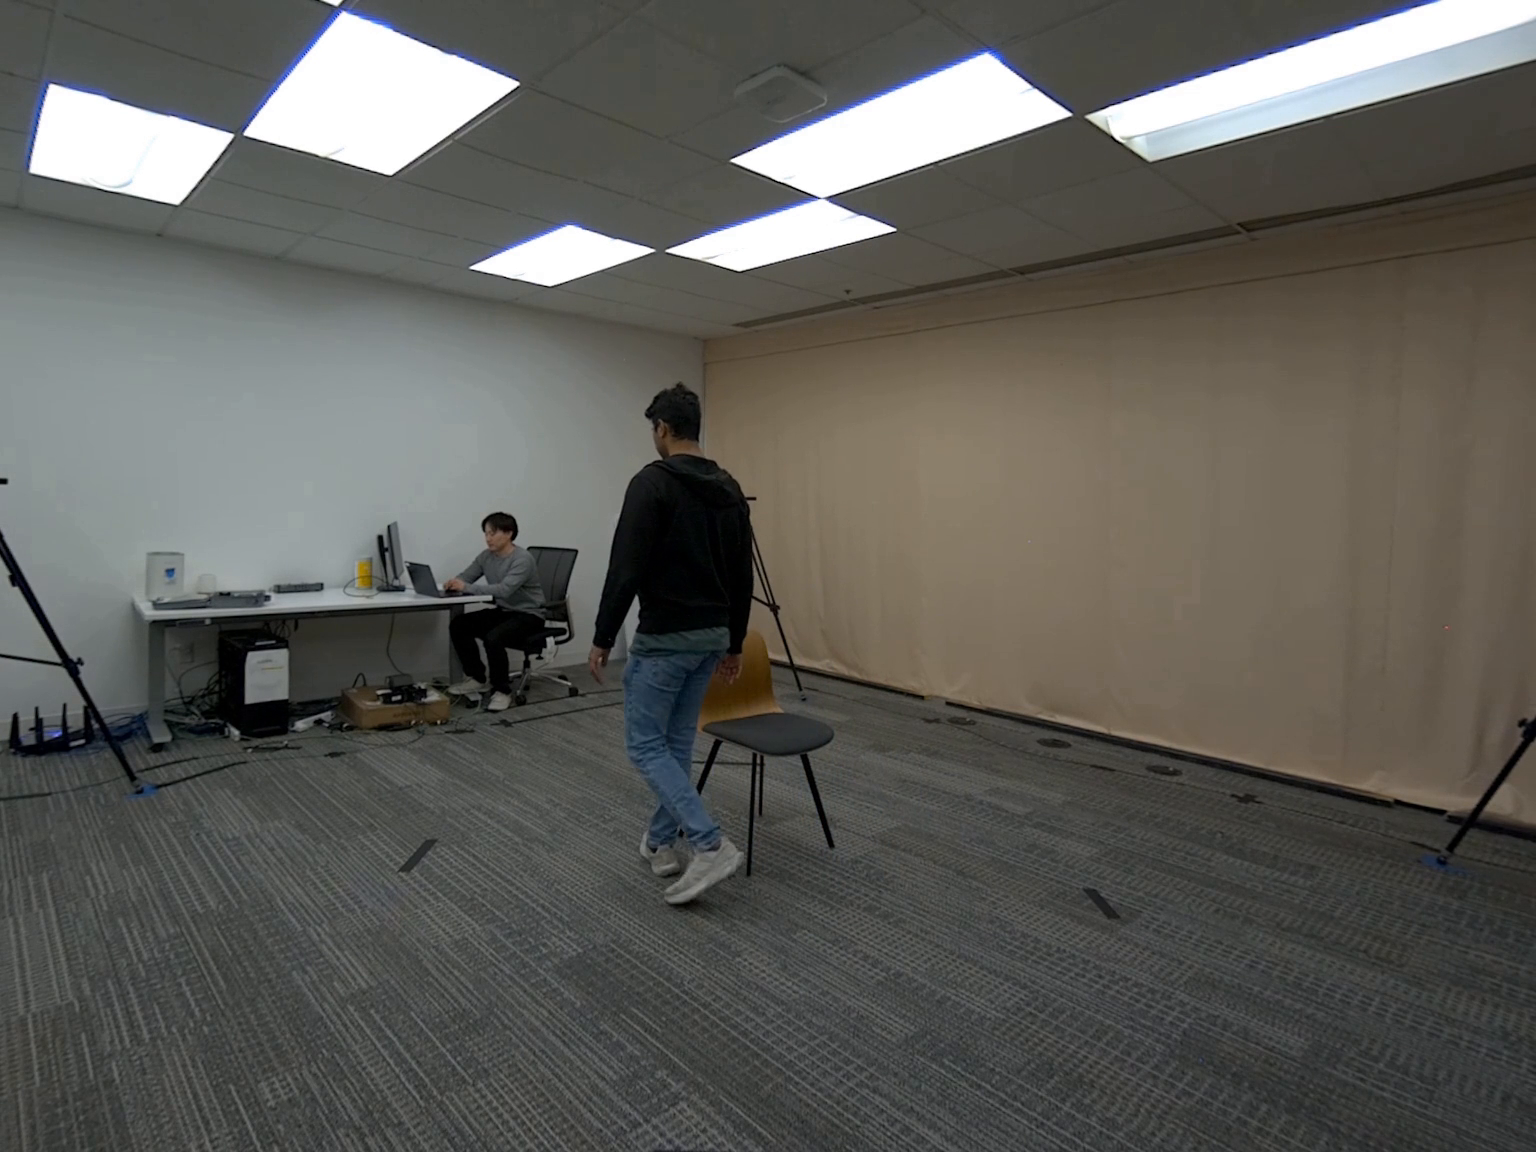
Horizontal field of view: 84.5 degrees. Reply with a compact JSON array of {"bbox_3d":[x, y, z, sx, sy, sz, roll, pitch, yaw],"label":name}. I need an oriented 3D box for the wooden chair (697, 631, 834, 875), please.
[{"bbox_3d":[-0.039,0.658,3.380,0.467,0.878,0.535,0,0,-40],"label":"wooden chair"}]
